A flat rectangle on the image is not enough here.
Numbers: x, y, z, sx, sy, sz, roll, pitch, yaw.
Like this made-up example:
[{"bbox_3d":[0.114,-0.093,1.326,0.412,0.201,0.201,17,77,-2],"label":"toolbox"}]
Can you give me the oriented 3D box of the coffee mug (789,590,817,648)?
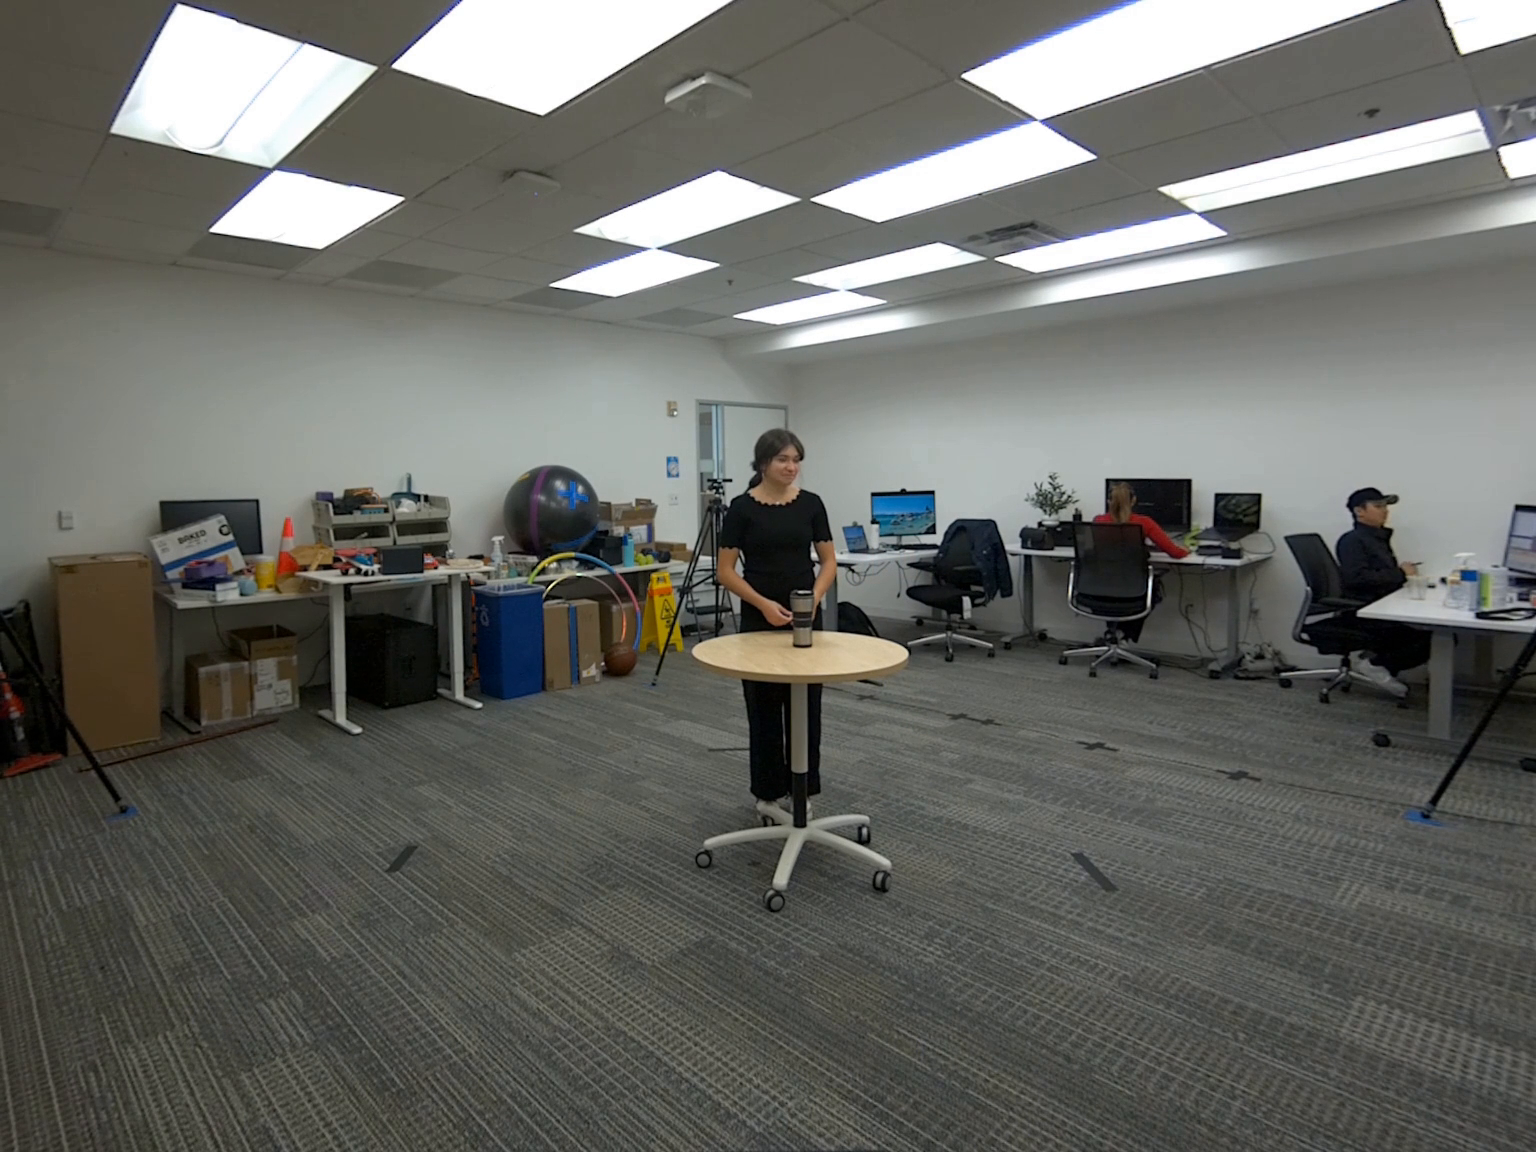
[{"bbox_3d":[0.142,0.162,3.126,0.119,0.203,0.090,-4,0,-42],"label":"coffee mug"}]
